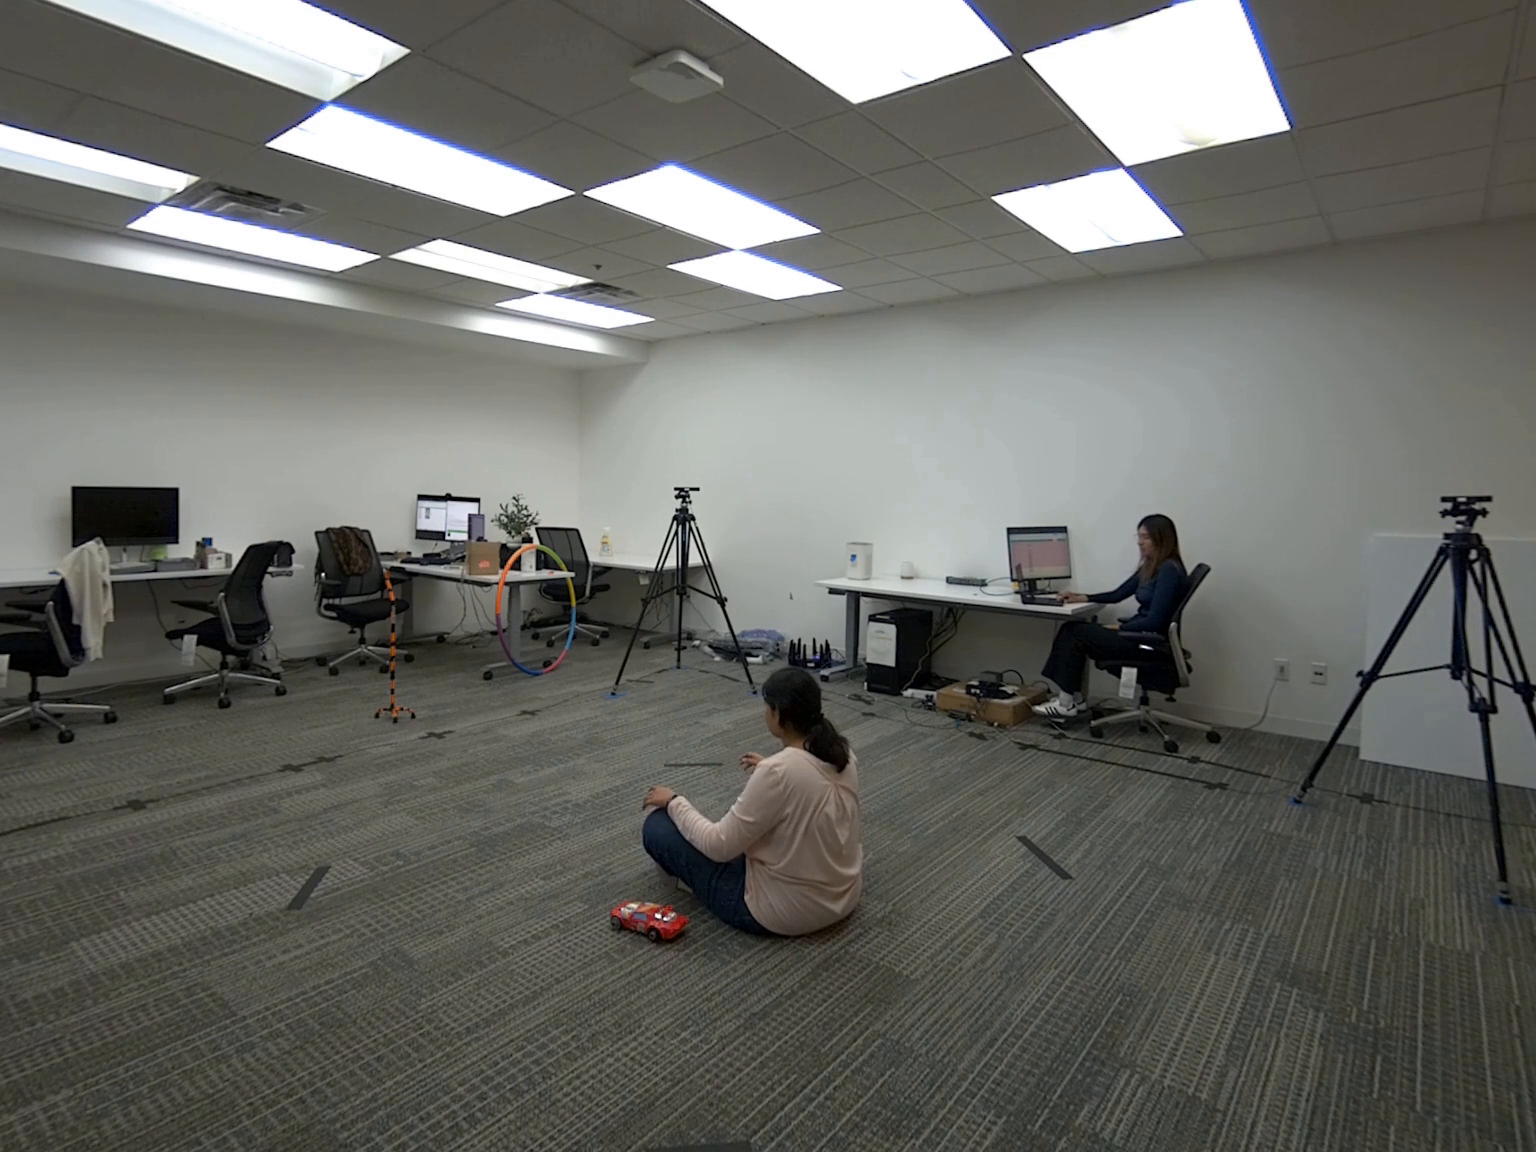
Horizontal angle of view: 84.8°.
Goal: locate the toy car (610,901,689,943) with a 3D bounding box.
[{"bbox_3d":[-0.379,1.082,2.655,0.261,0.083,0.127,-7,0,30],"label":"toy car"}]
